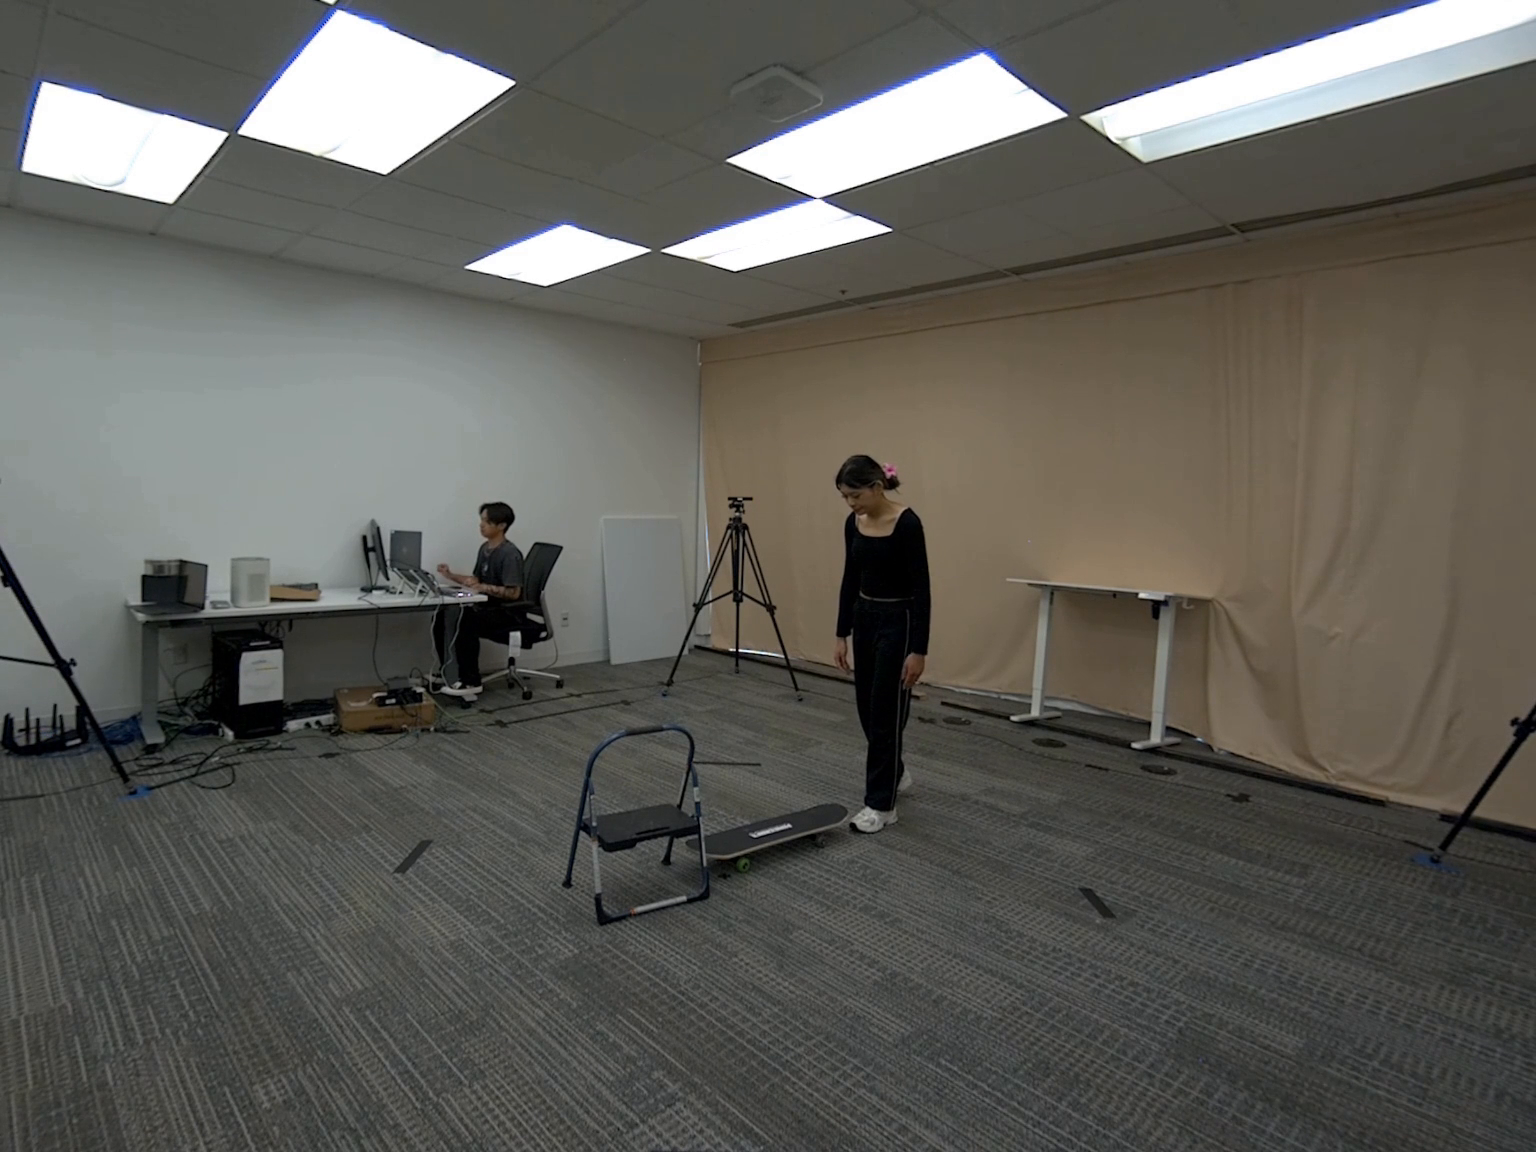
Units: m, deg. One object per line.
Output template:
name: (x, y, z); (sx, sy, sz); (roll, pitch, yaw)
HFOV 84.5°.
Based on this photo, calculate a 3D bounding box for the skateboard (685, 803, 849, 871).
skateboard: (0.005, 1.036, 3.326); (0.768, 0.110, 0.198); (-3, 7, -38)
